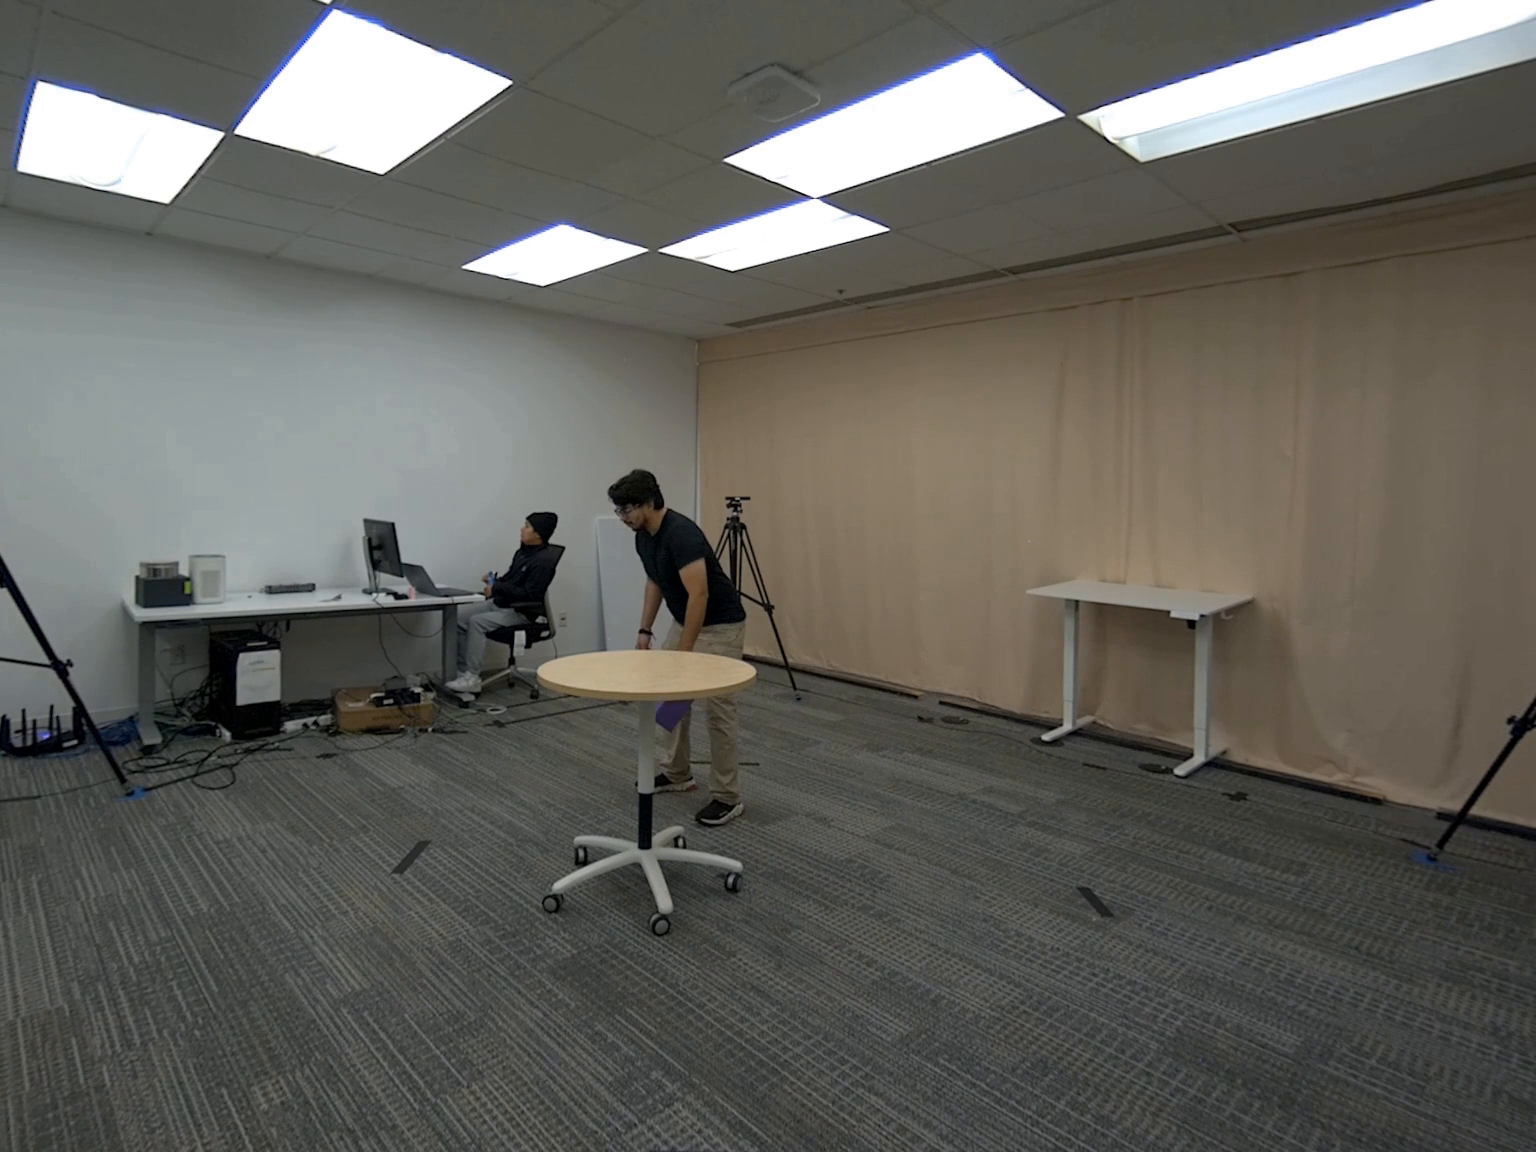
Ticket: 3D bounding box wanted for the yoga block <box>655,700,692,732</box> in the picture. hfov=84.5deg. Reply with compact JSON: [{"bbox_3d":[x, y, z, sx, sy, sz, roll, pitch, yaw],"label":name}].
[{"bbox_3d":[-0.422,0.549,3.623,0.079,0.230,0.144,21,-19,38],"label":"yoga block"}]
